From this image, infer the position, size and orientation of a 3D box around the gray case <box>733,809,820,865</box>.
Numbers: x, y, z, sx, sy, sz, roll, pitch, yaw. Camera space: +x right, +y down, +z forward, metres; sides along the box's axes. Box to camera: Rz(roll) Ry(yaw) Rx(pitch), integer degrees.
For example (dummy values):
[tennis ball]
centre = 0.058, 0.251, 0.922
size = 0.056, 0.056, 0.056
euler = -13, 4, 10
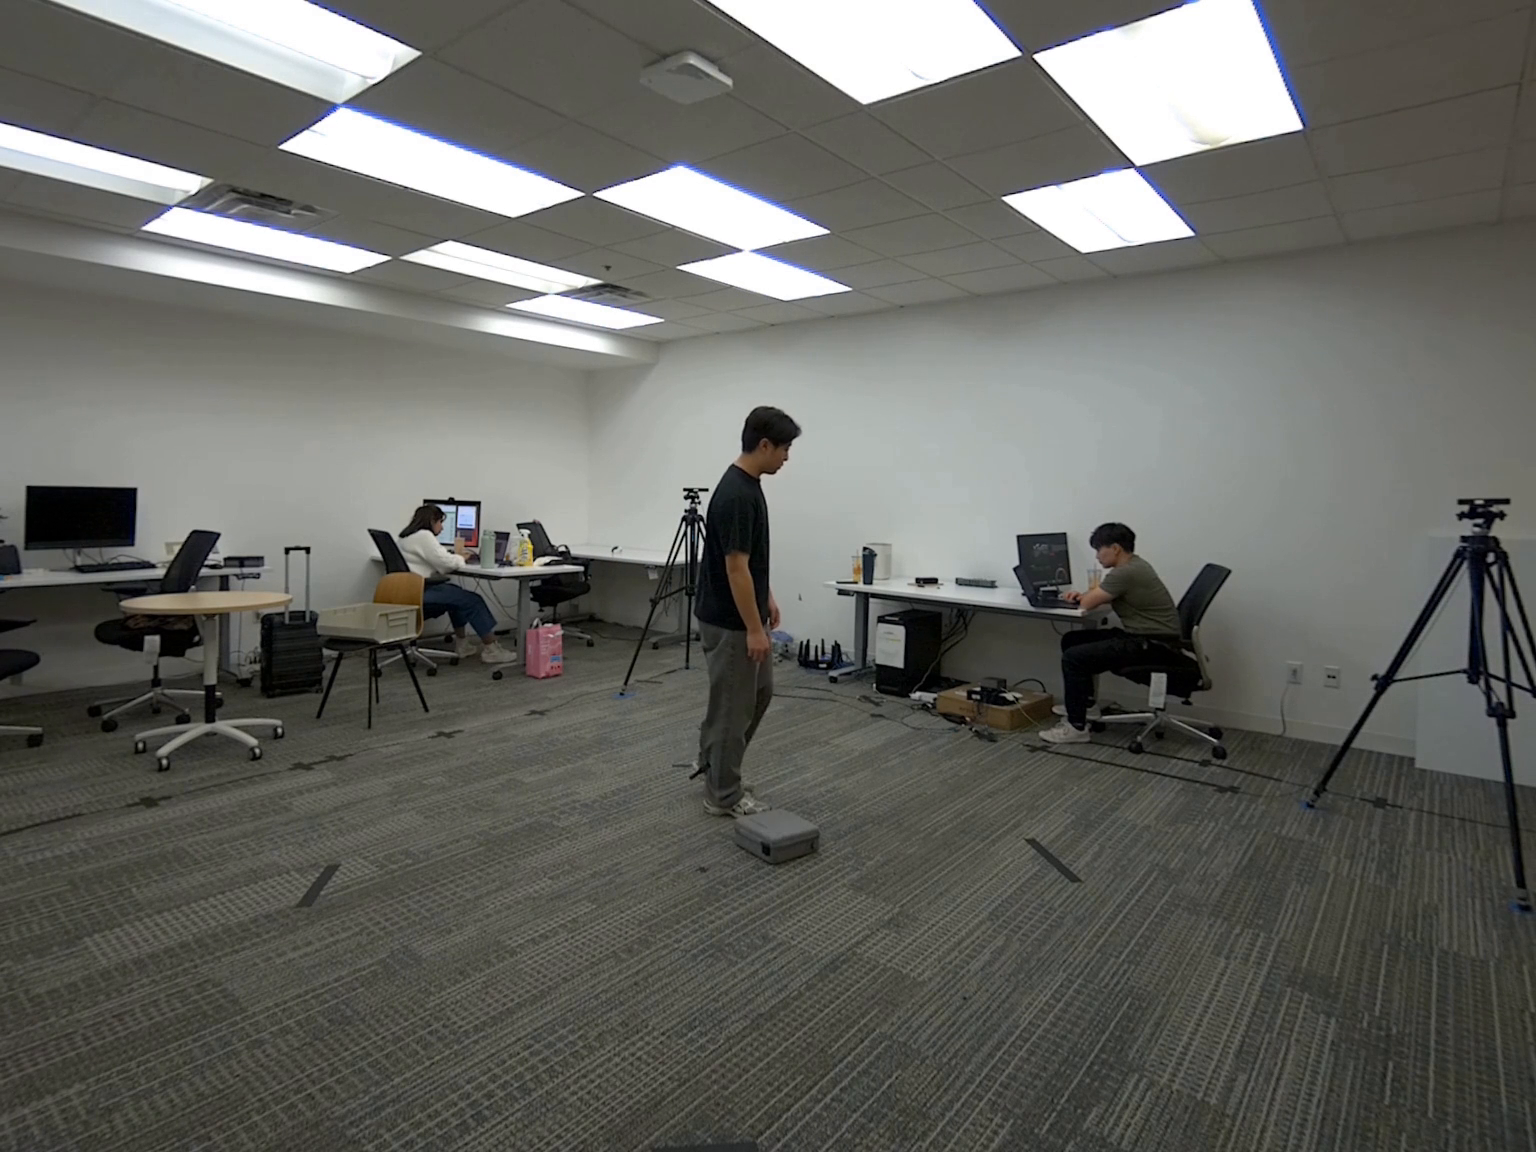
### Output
[gray case]
centre = 0.035, 0.999, 3.316
size = 0.278, 0.103, 0.272
euler = -2, 6, -38
